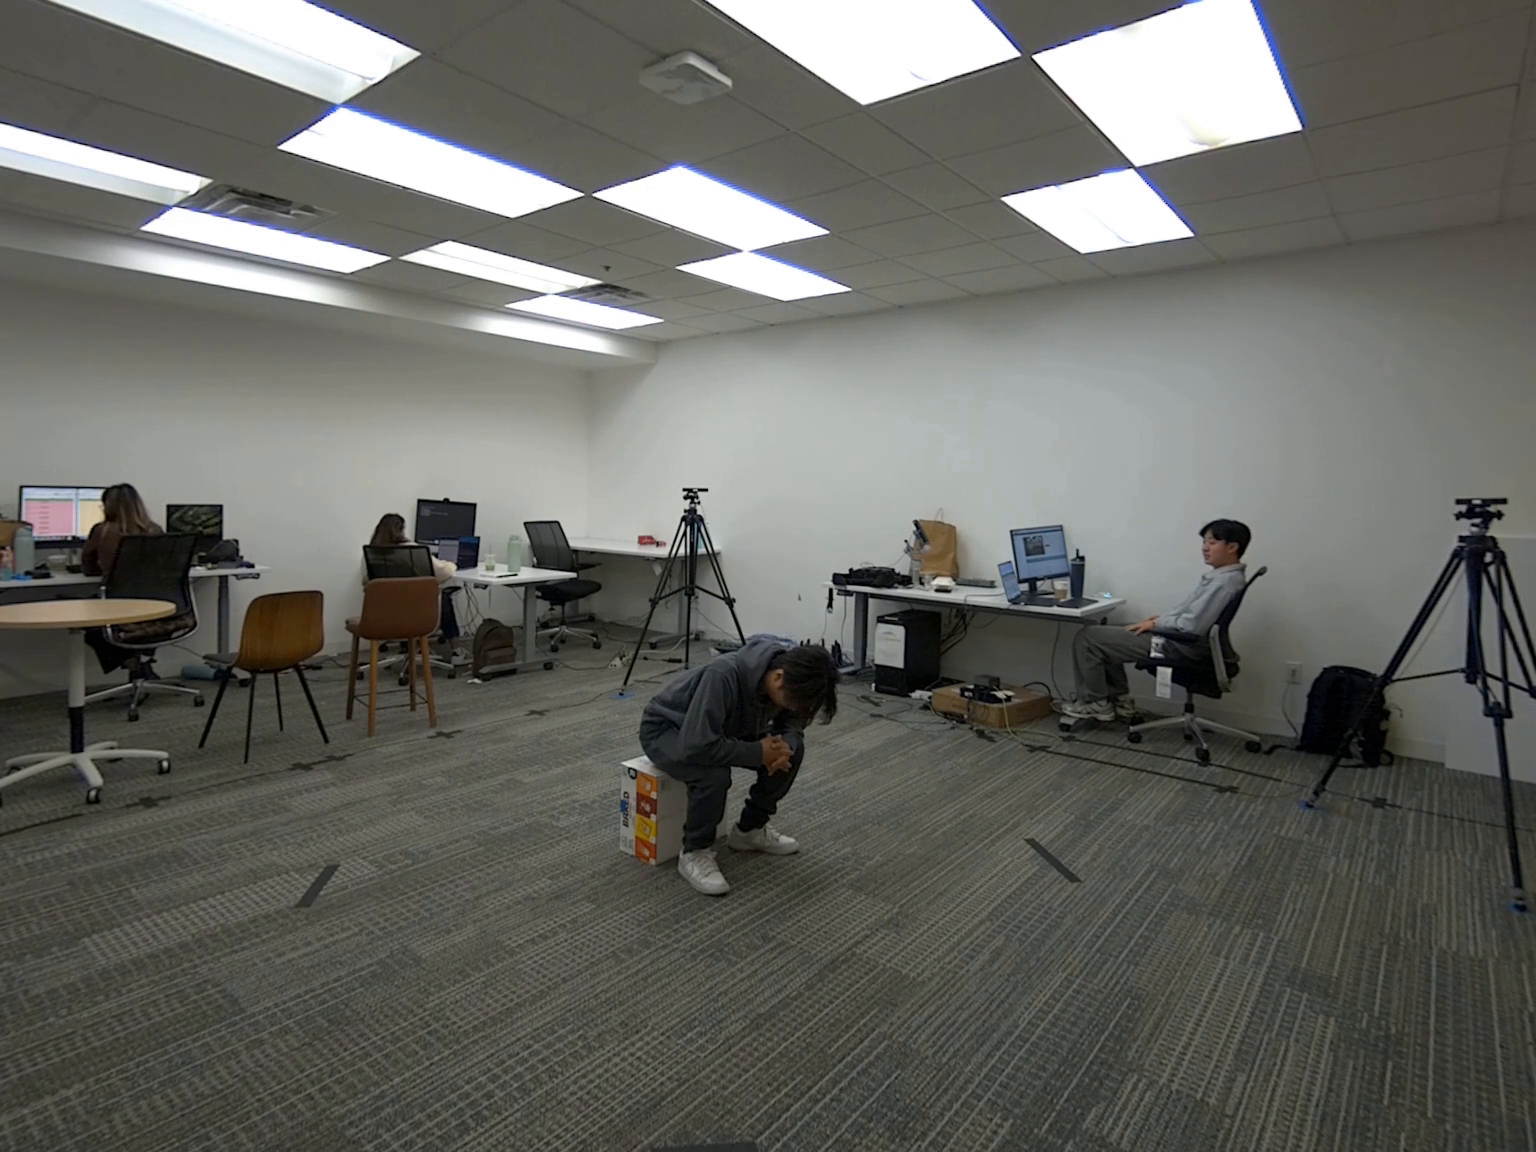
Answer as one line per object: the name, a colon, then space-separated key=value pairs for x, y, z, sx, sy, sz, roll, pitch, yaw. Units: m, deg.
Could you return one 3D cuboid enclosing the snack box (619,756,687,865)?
snack box: x=-0.372 y=0.874 z=3.333 sx=0.213 sy=0.339 sz=0.393 roll=5 pitch=6 yaw=40
